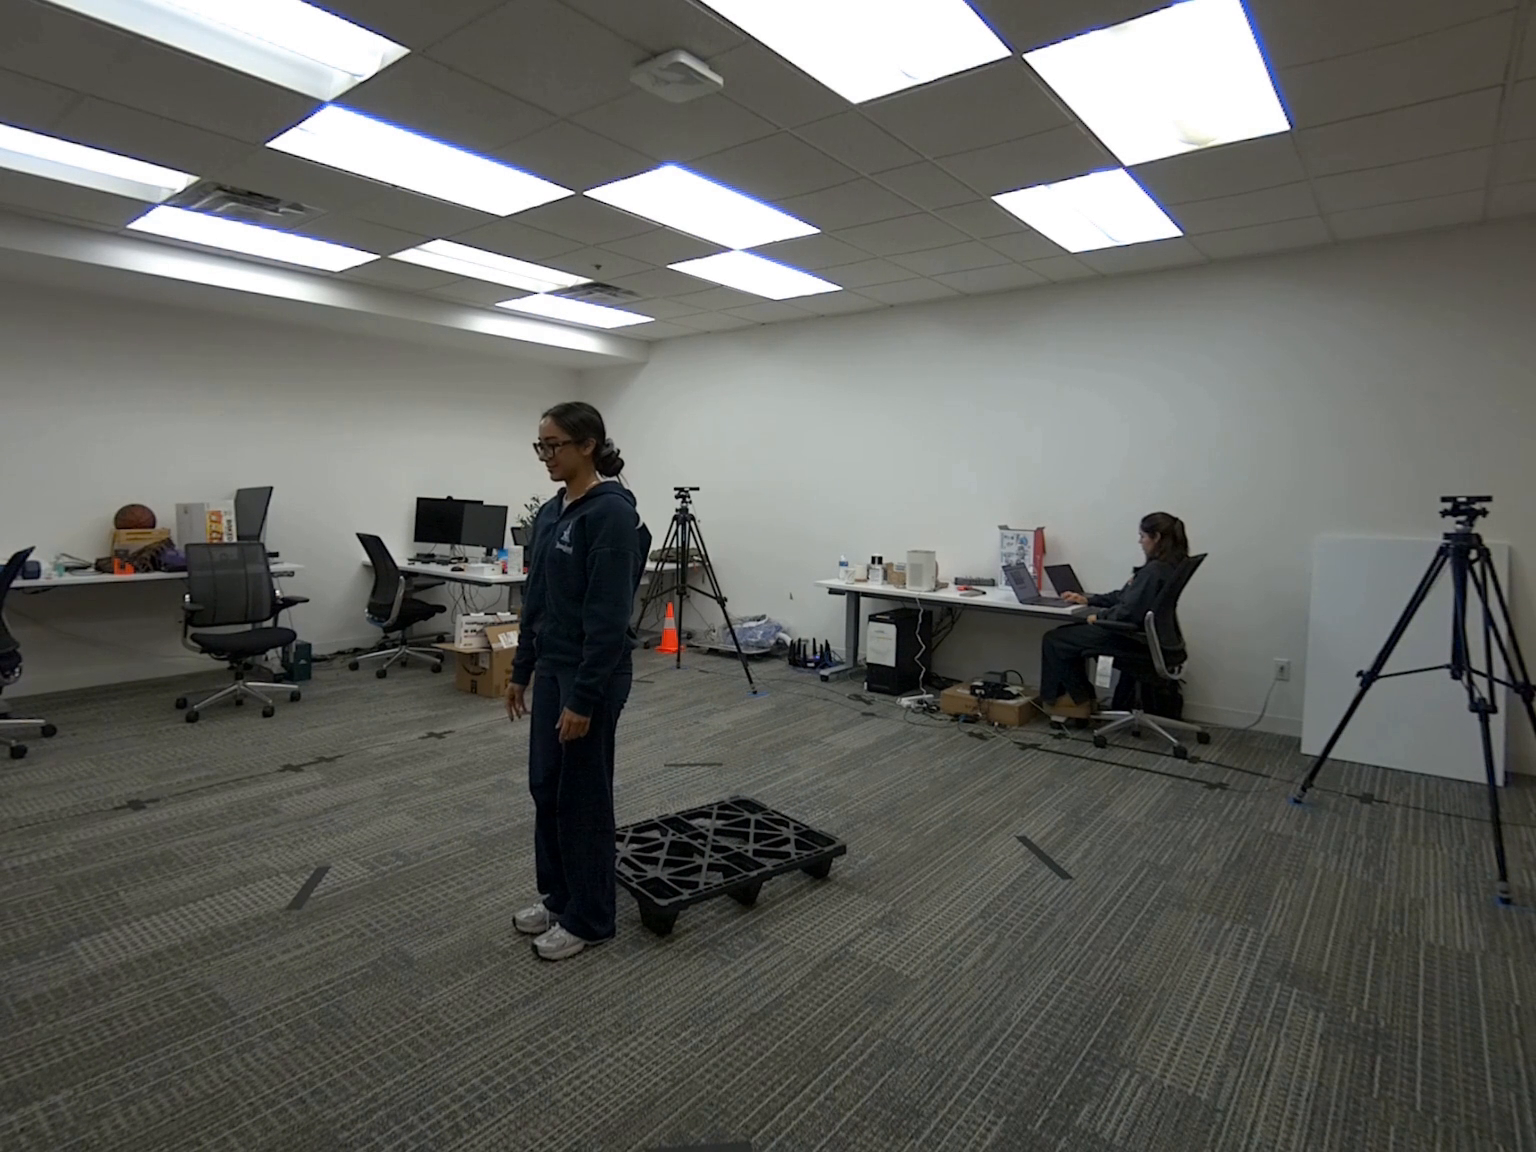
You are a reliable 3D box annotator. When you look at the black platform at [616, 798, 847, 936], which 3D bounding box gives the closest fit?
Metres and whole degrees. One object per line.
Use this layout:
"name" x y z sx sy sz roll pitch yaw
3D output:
"black platform" -0.212 1.008 3.030 0.782 0.143 0.626 -4 8 -39
